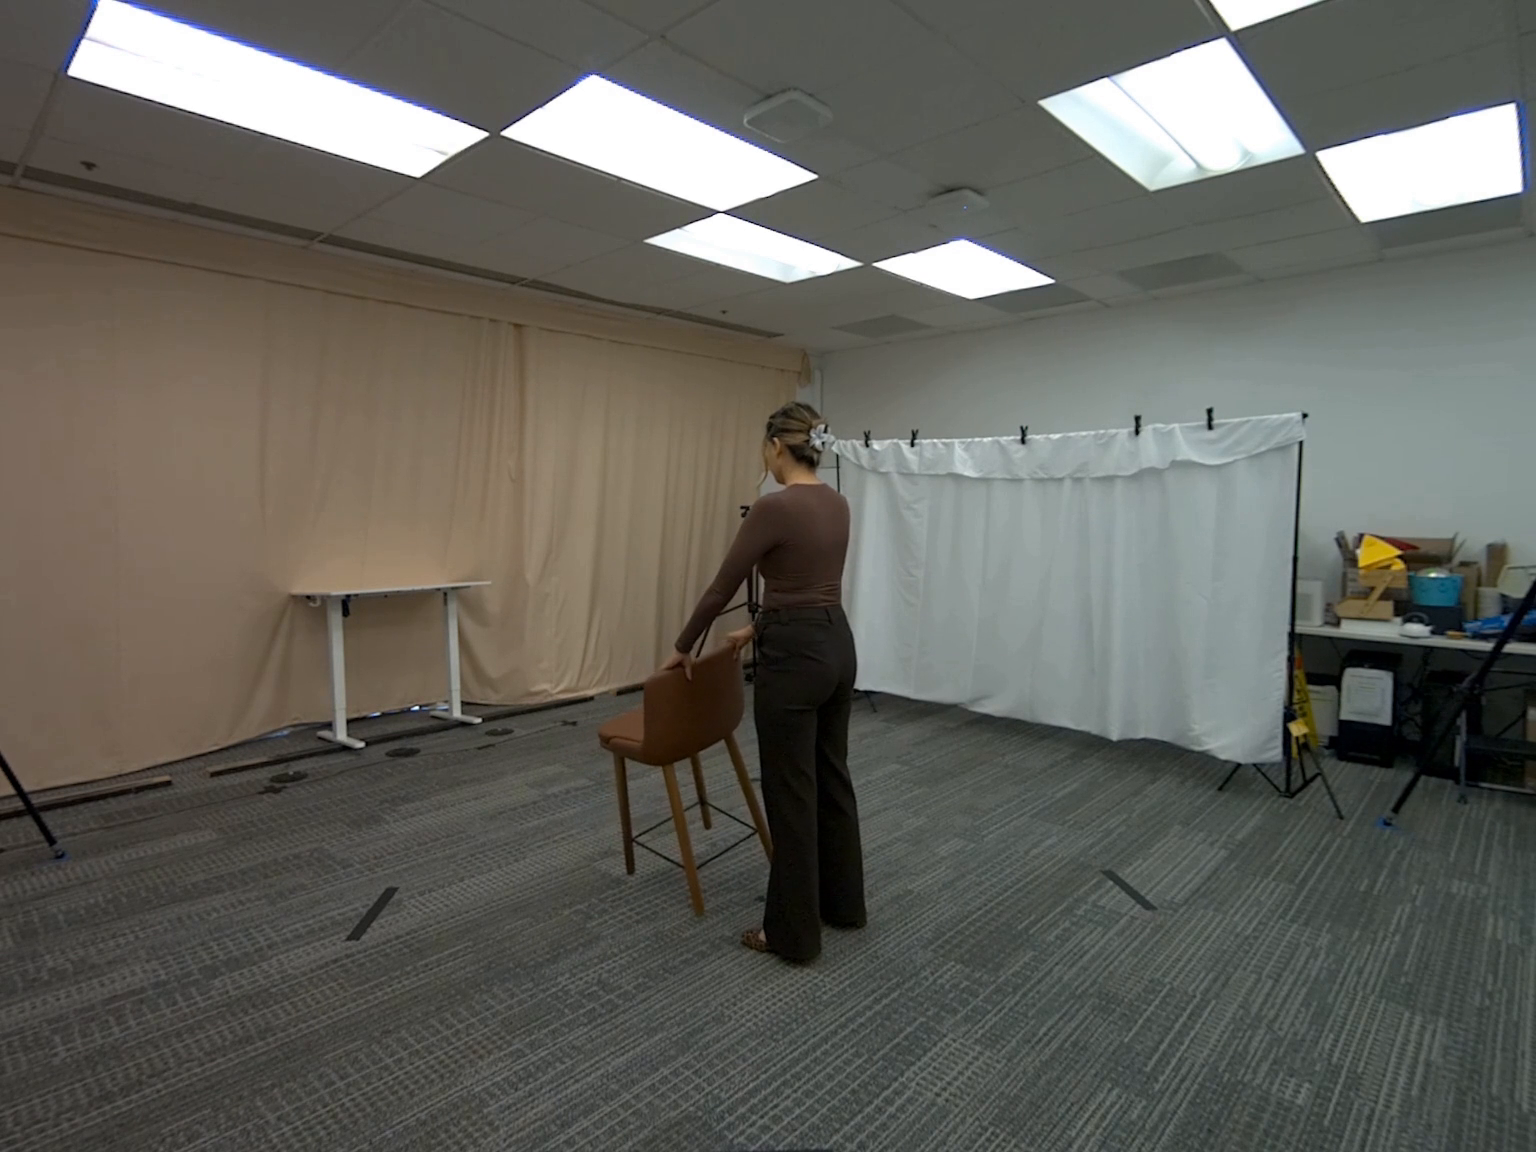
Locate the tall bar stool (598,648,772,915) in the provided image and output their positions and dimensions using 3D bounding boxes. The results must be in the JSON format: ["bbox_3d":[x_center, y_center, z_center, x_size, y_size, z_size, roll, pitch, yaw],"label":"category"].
[{"bbox_3d":[-0.309,0.675,3.053,0.446,0.881,0.483,-18,16,-37],"label":"tall bar stool"}]
